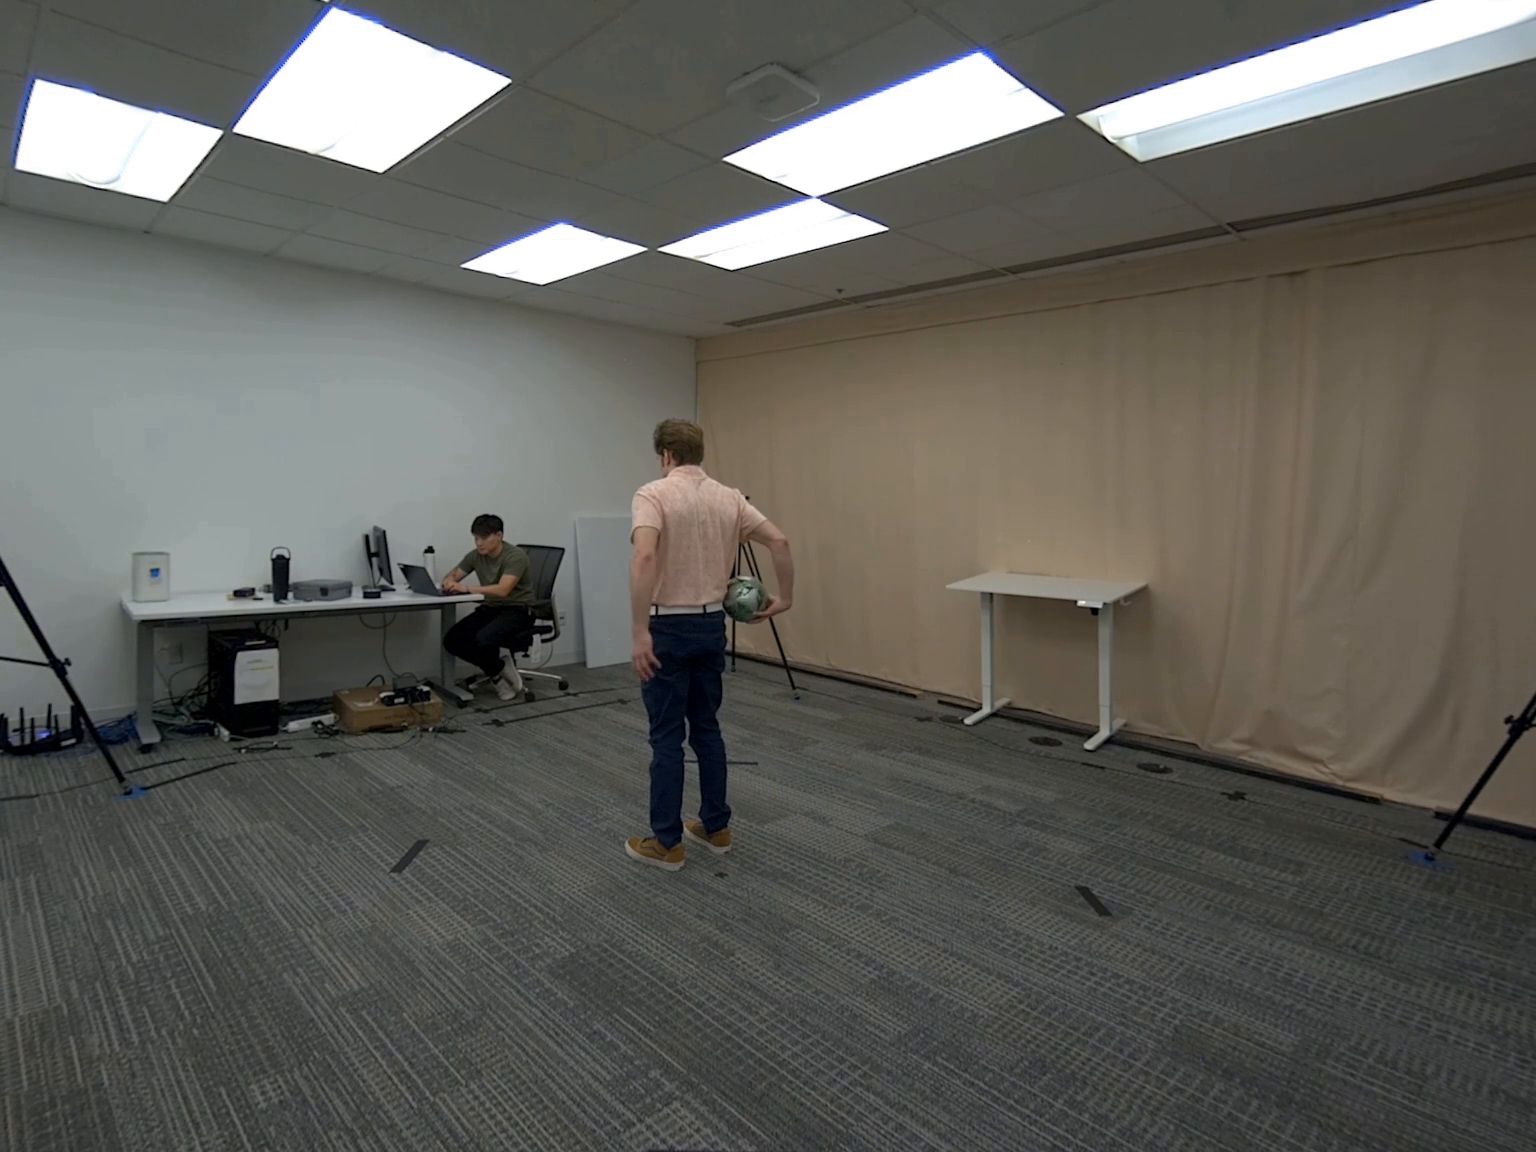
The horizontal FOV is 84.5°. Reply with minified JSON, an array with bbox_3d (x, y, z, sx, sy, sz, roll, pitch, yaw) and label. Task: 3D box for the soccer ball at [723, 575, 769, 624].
[{"bbox_3d":[-0.113,0.085,3.363,0.187,0.187,0.188,1,4,-1],"label":"soccer ball"}]
